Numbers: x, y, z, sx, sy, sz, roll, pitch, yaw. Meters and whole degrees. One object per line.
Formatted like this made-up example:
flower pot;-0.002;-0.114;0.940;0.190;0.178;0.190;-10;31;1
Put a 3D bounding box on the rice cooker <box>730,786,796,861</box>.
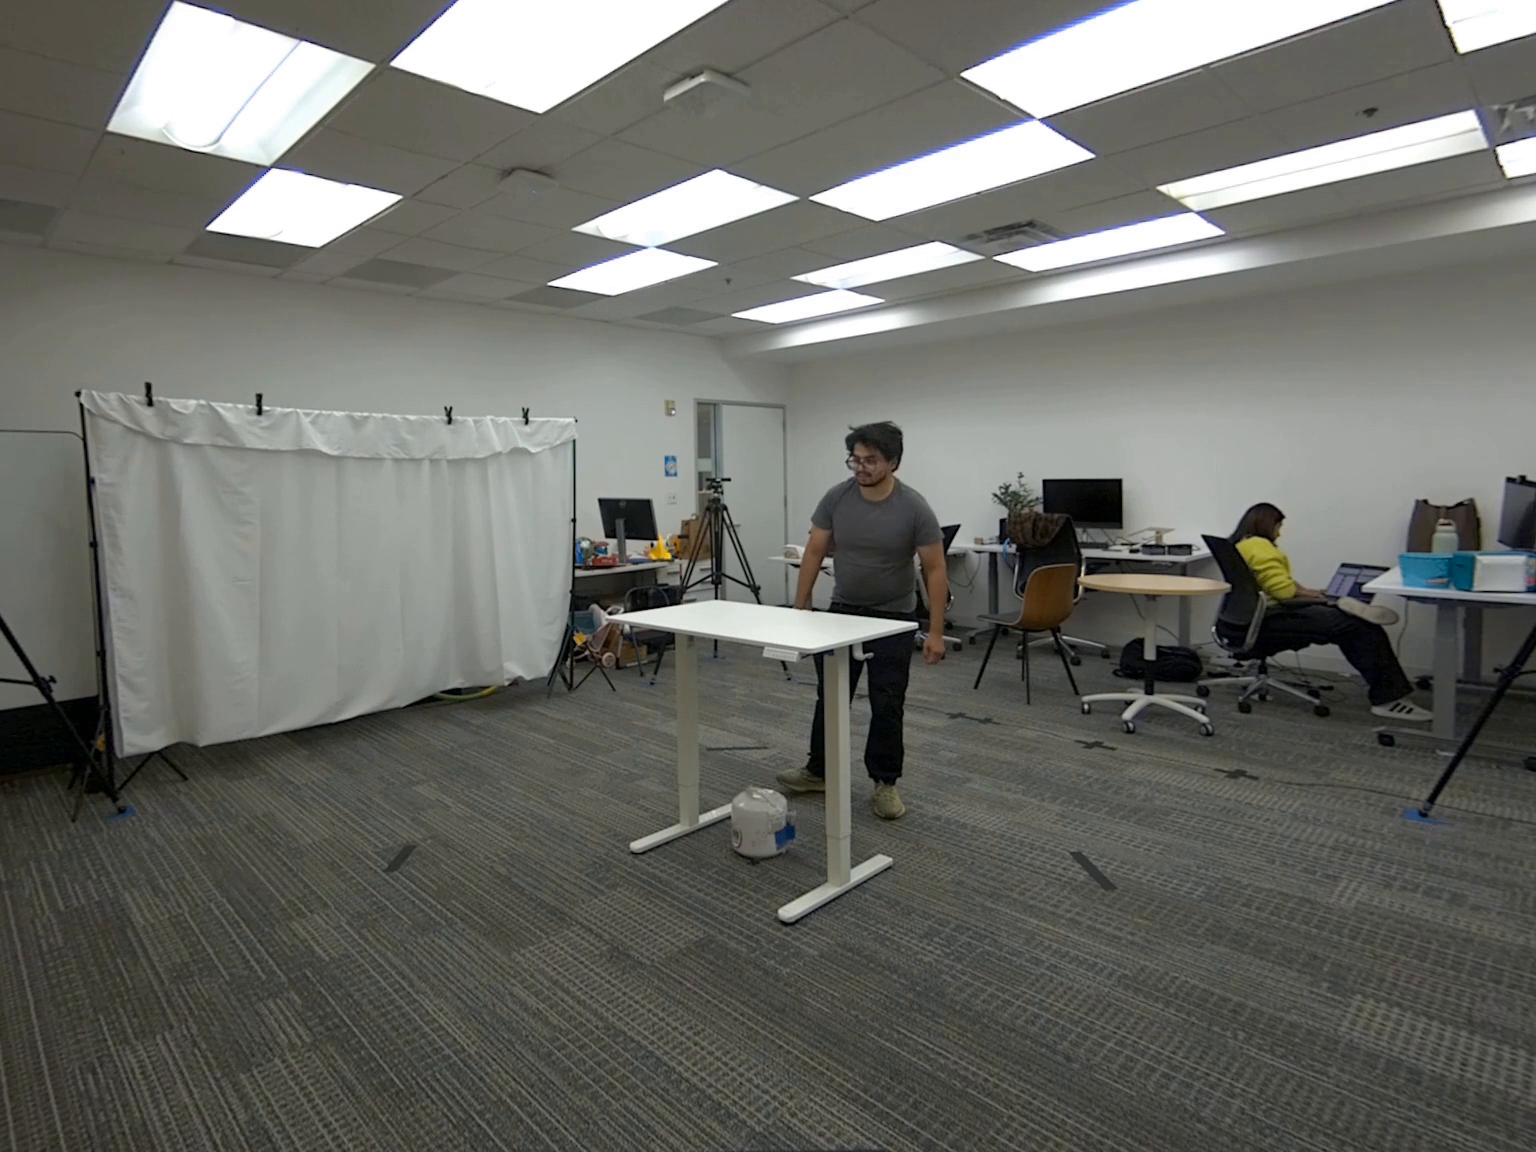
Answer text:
rice cooker;-0.029;0.918;3.204;0.212;0.232;0.227;-2;5;-34
